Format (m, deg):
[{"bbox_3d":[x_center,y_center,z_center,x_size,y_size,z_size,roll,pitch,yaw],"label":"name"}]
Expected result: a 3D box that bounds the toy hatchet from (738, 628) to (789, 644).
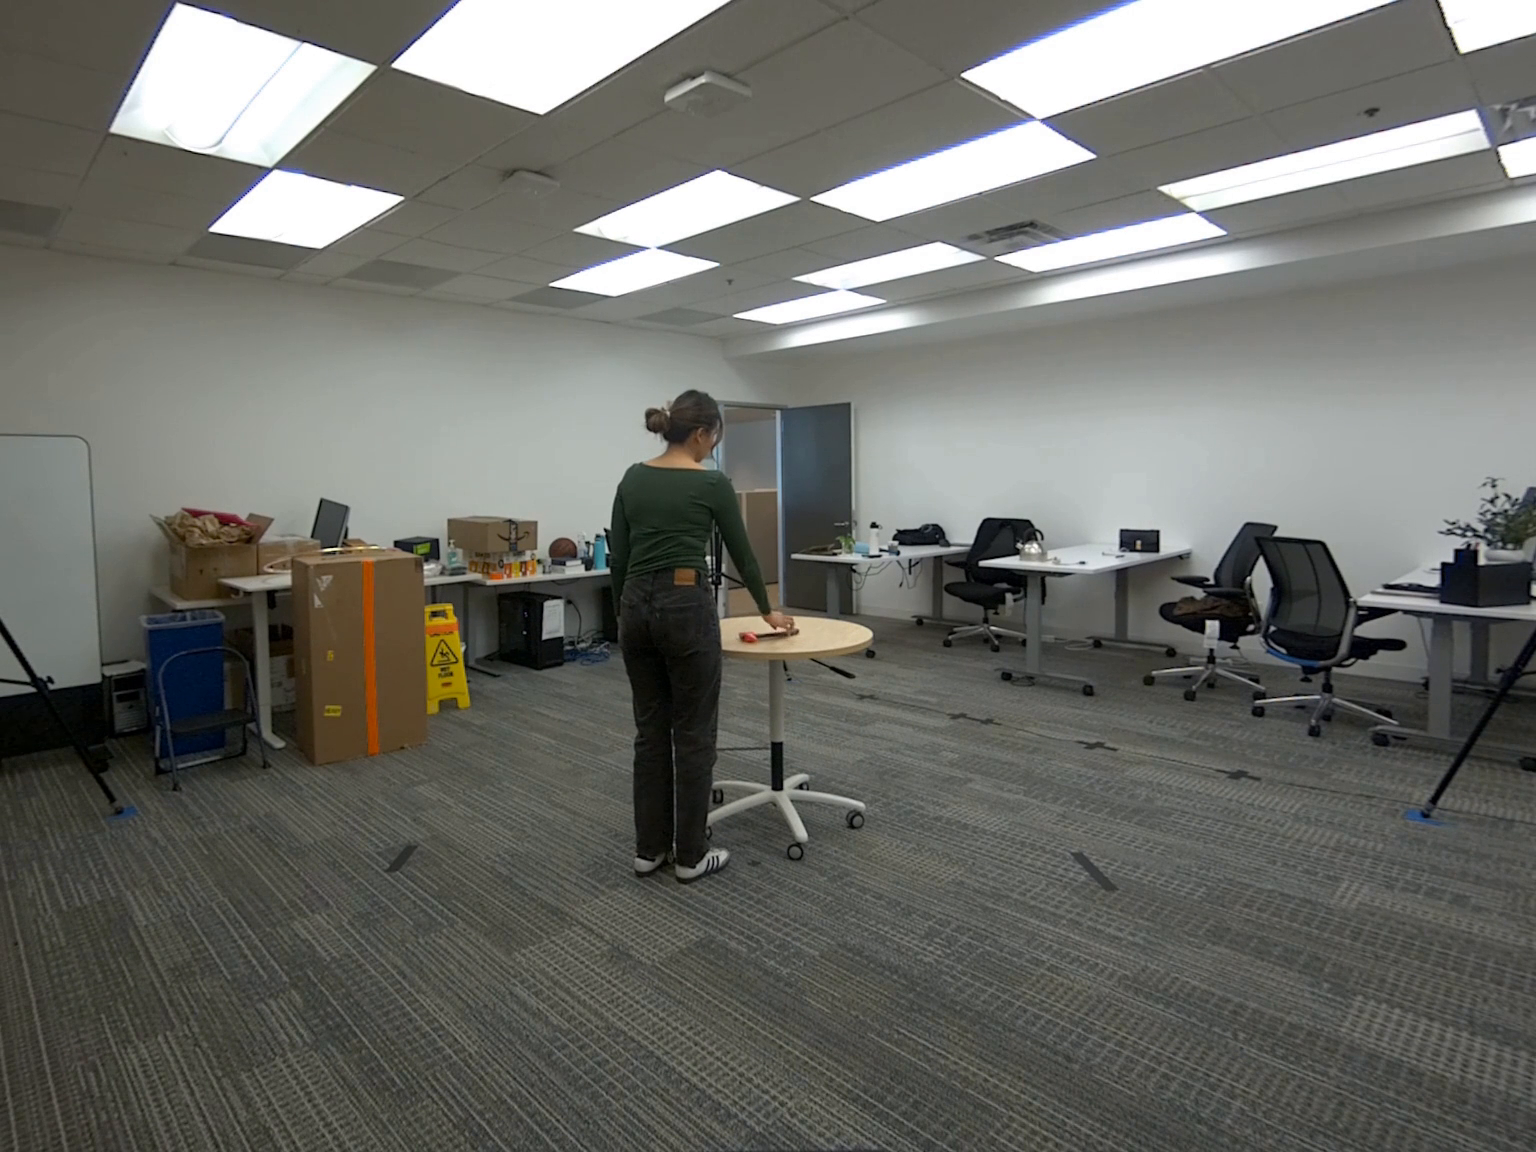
[{"bbox_3d":[-0.002,0.225,3.322,0.135,0.029,0.263,2,5,43],"label":"toy hatchet"}]
